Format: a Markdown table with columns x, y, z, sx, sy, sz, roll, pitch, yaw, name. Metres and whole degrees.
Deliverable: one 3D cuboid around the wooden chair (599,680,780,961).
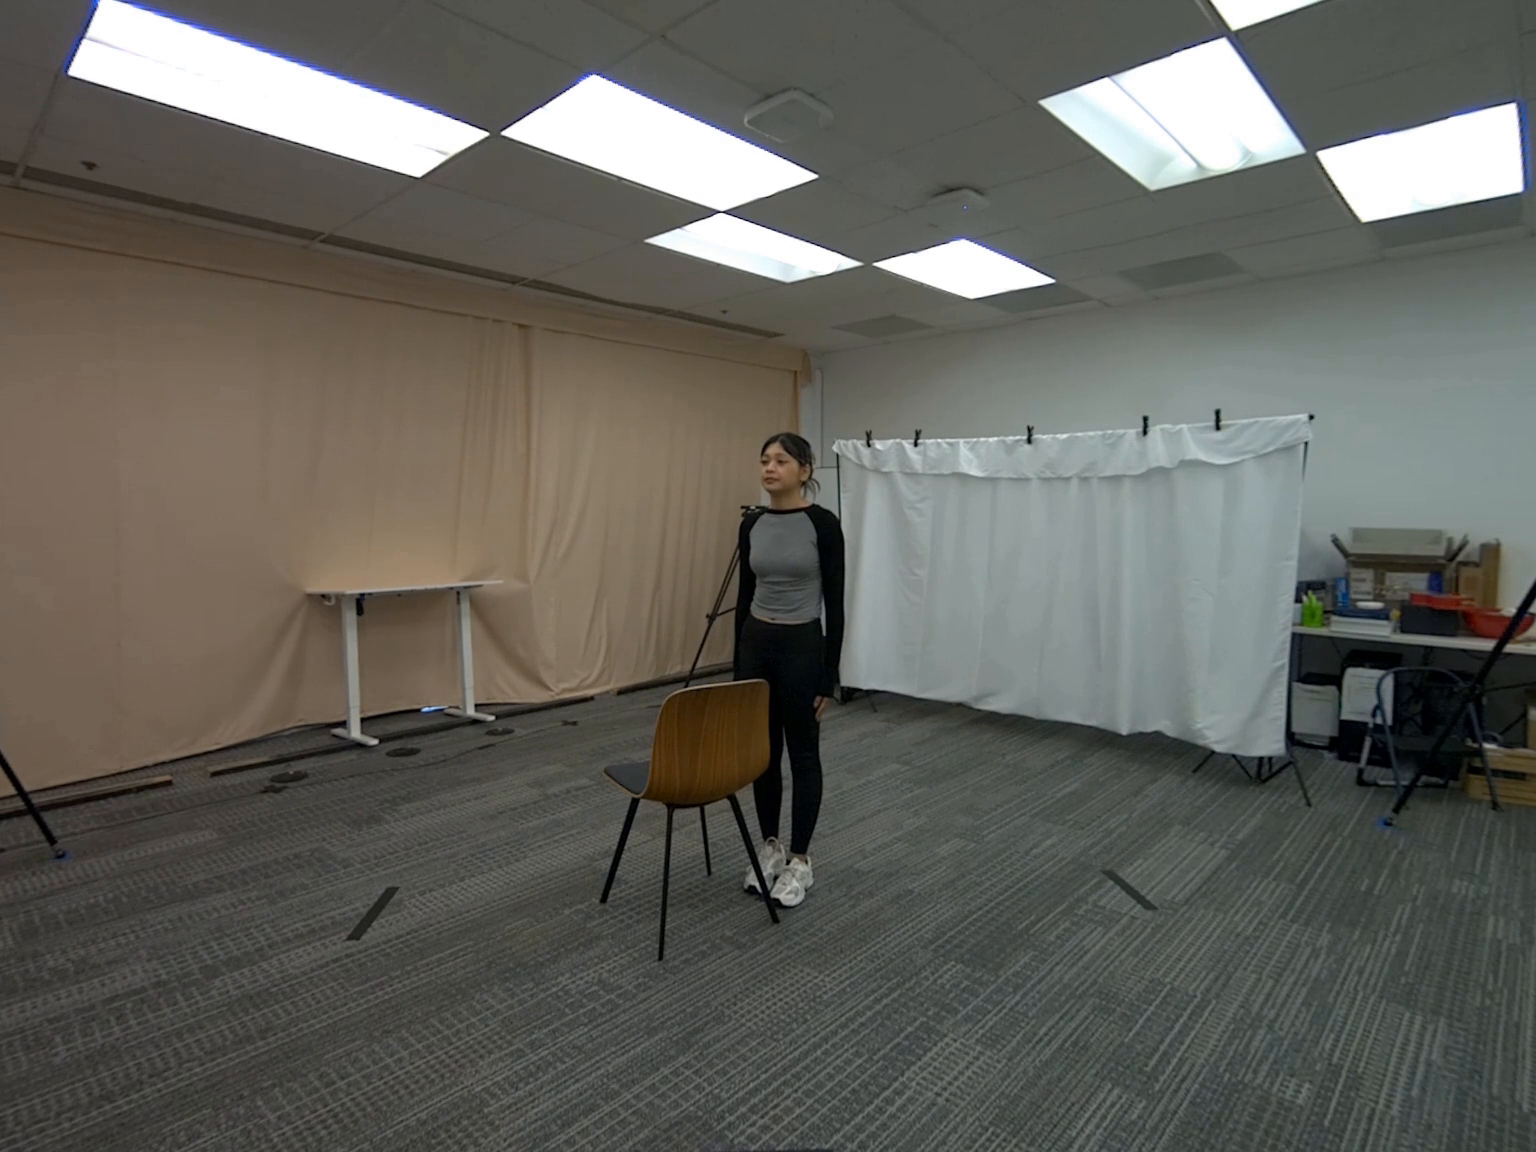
| x | y | z | sx | sy | sz | roll | pitch | yaw | name |
| --- | --- | --- | --- | --- | --- | --- | --- | --- | --- |
| -0.285 | 0.729 | 2.857 | 0.465 | 0.874 | 0.540 | -3 | 8 | -33 | wooden chair |
